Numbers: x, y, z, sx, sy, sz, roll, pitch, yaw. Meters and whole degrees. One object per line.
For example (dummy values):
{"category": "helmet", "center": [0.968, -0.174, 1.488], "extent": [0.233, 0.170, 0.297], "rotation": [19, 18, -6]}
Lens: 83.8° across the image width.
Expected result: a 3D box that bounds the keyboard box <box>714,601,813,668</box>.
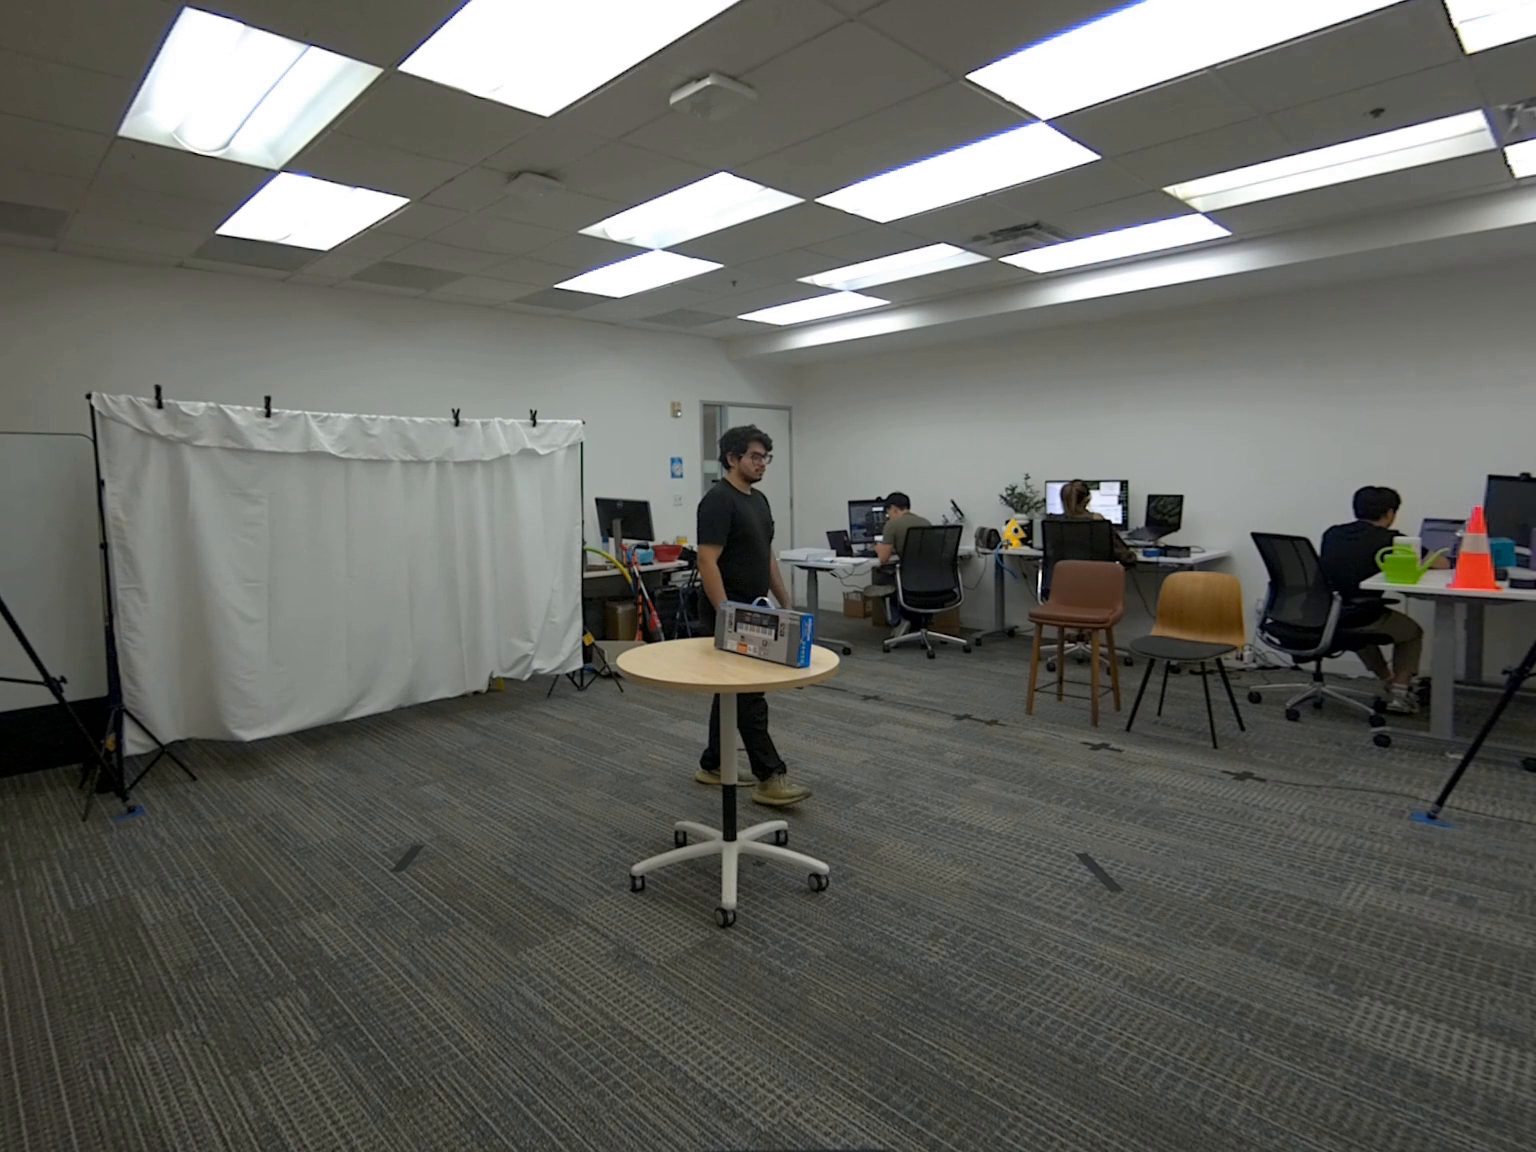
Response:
{"category": "keyboard box", "center": [-0.026, 0.198, 2.952], "extent": [0.057, 0.176, 0.450], "rotation": [3, 2, -41]}
